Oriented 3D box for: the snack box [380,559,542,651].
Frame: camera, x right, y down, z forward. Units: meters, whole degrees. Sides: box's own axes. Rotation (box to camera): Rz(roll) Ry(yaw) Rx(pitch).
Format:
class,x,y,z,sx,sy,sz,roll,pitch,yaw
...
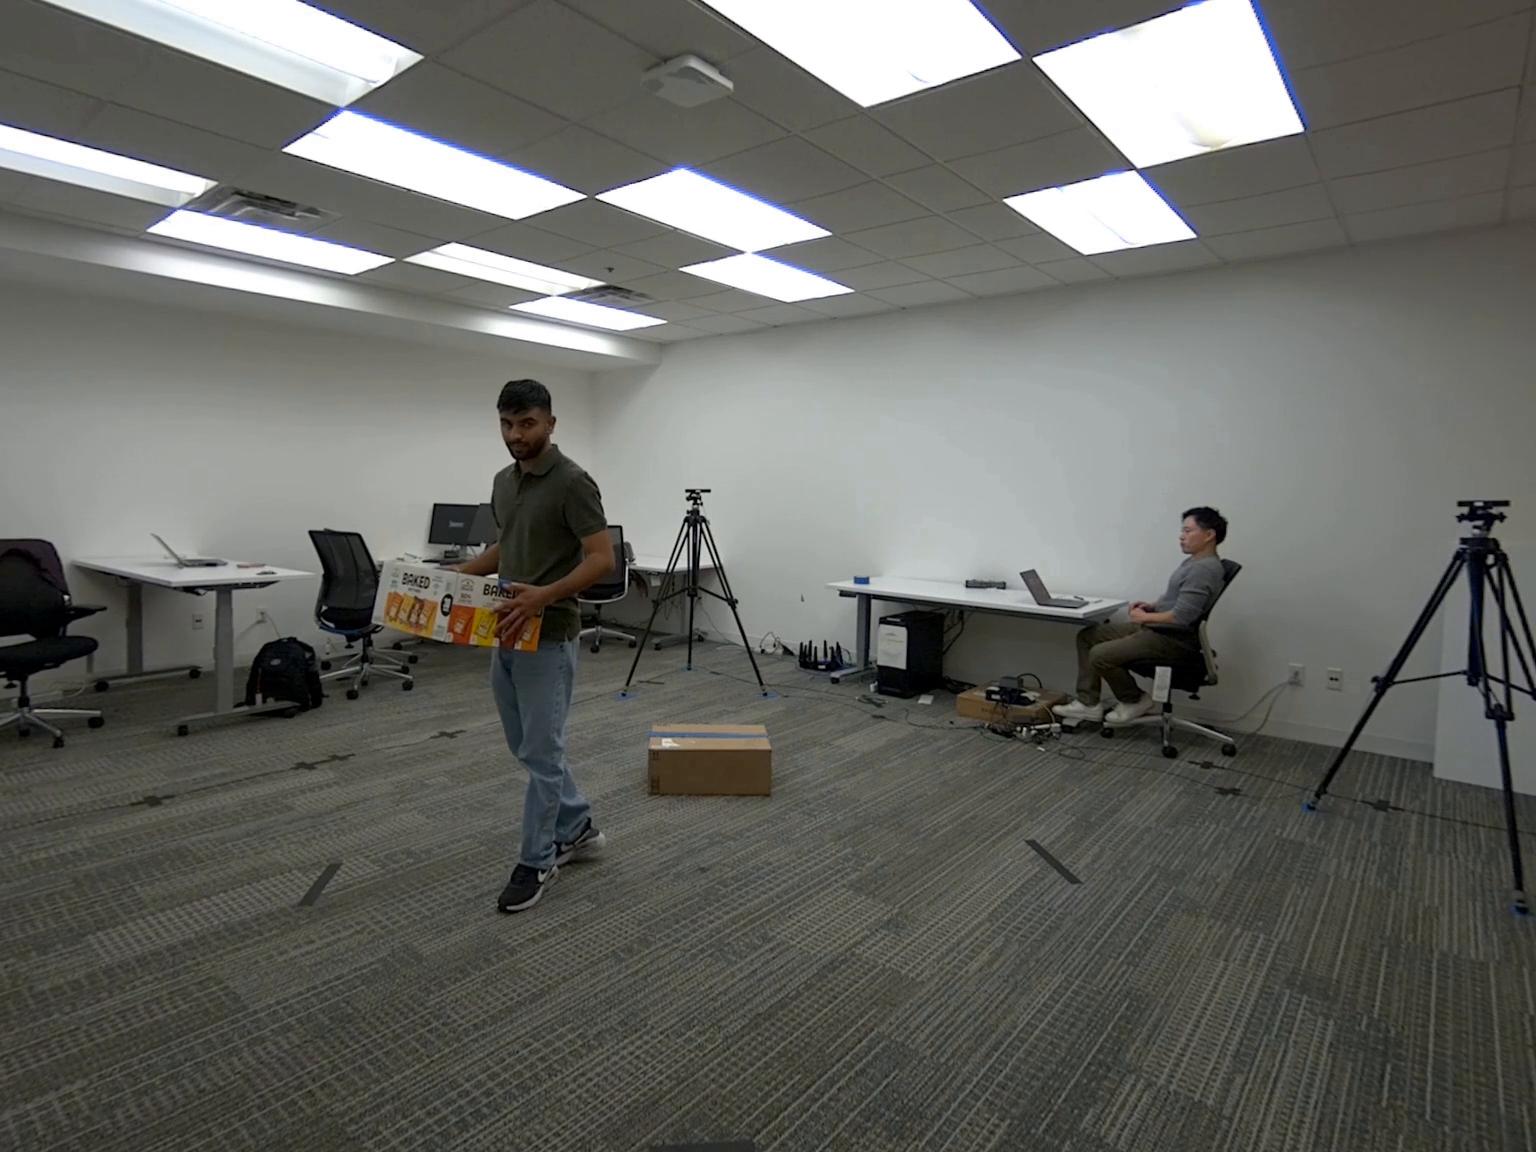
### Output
class,x,y,z,sx,sy,sz,roll,pitch,yaw
snack box,-0.987,0.092,2.696,0.419,0.206,0.328,6,-5,38
